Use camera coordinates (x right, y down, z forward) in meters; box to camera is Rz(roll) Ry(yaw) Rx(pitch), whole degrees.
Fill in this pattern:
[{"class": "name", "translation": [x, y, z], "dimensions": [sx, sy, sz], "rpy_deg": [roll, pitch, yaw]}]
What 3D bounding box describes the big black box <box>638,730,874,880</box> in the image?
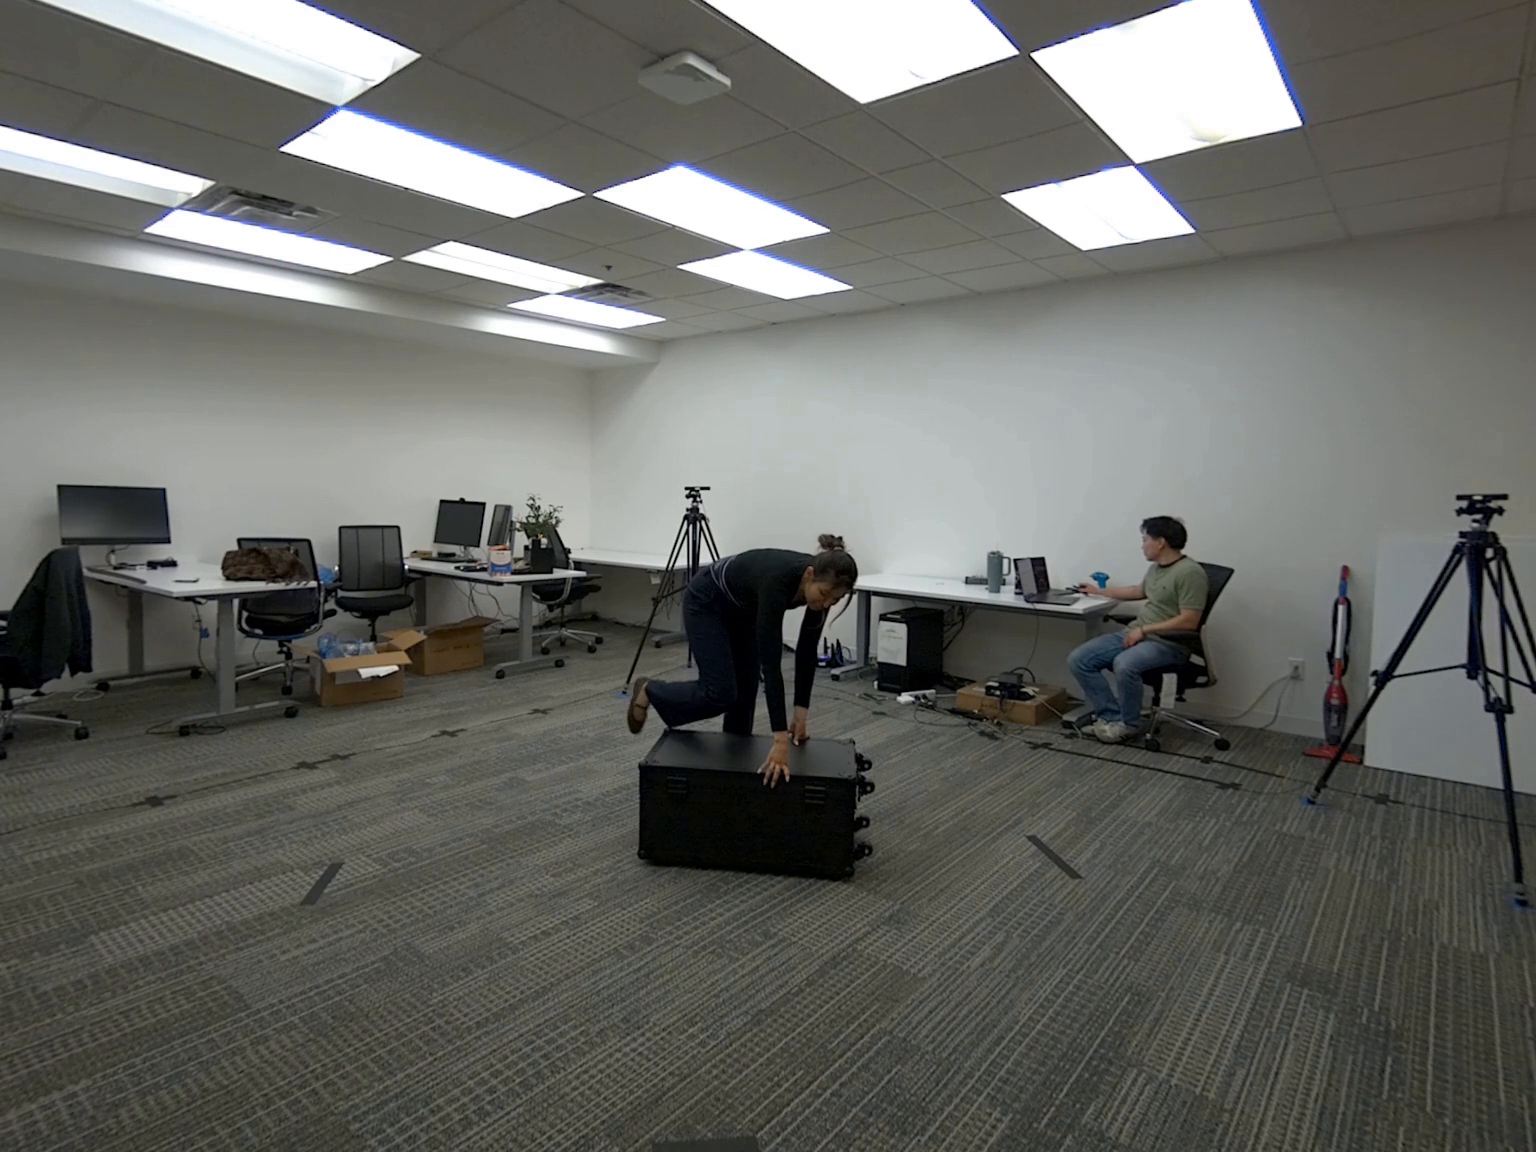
[{"class": "big black box", "translation": [-0.037, 0.857, 3.275], "dimensions": [0.869, 0.395, 0.519], "rpy_deg": [1, 4, 7]}]
